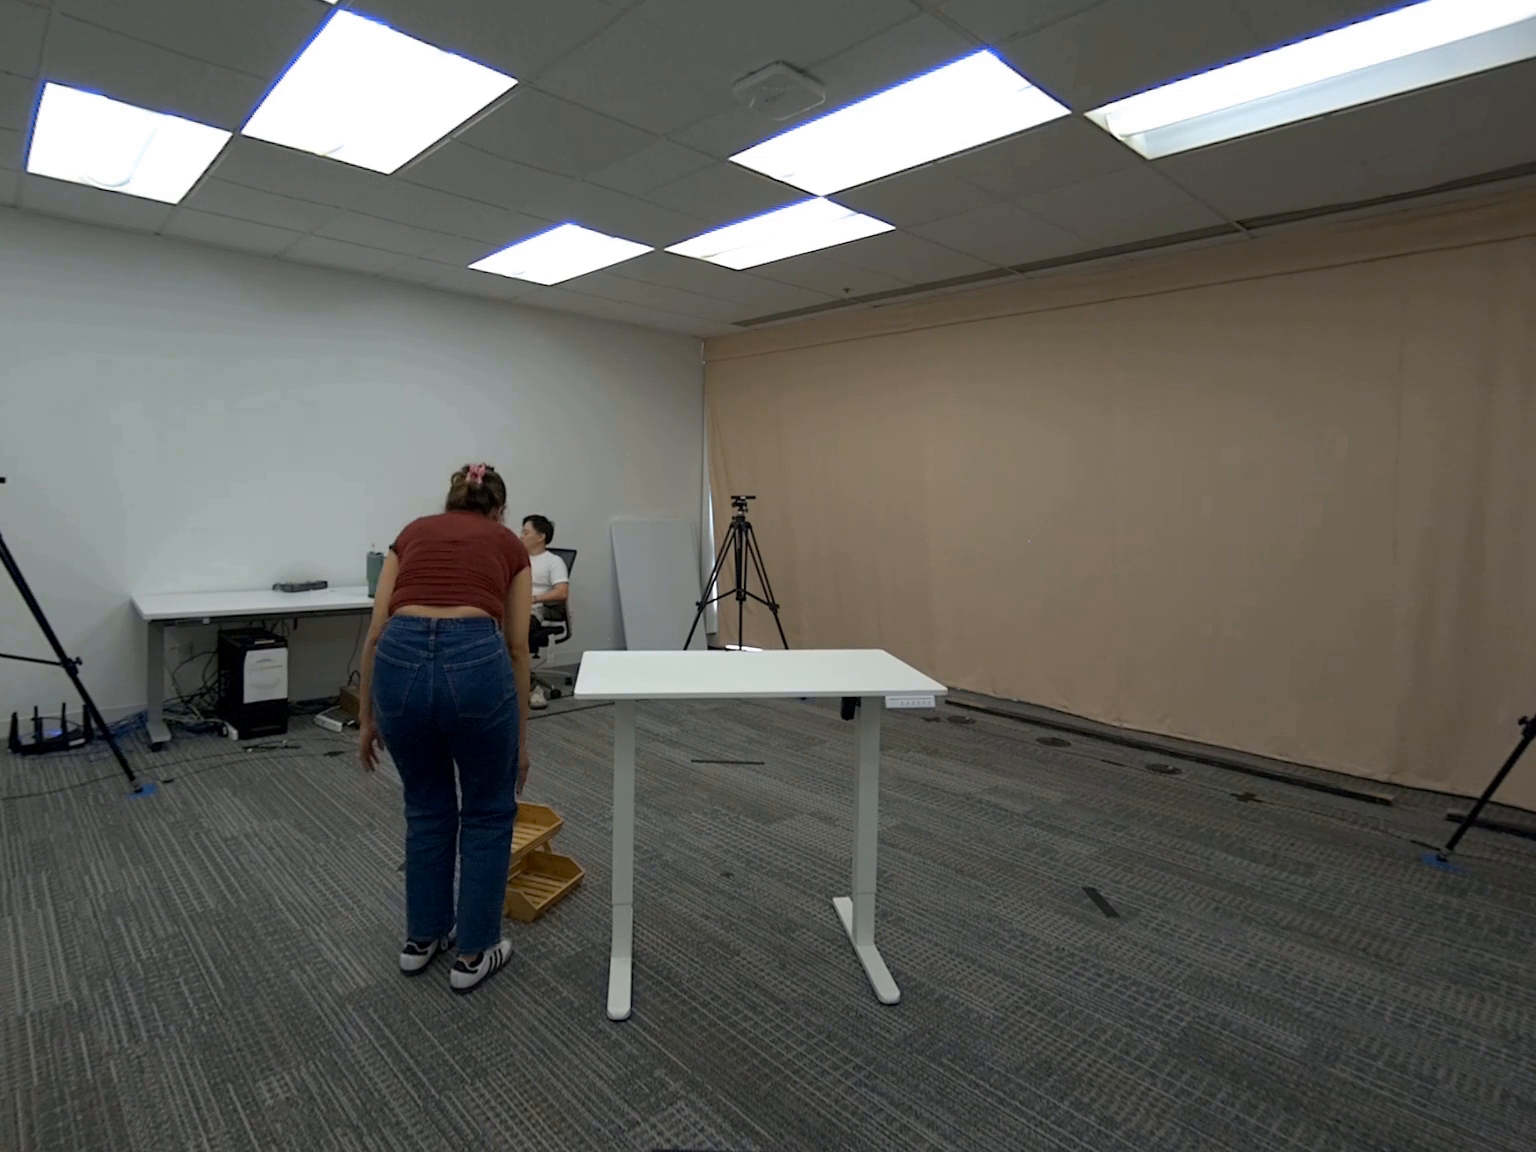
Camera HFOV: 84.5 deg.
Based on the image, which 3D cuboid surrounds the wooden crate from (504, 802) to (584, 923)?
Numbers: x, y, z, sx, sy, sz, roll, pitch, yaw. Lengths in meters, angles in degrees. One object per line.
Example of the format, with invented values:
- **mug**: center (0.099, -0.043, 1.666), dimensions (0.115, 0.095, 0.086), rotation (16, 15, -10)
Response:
- **wooden crate**: center (-0.844, 0.974, 2.904), dimensions (0.307, 0.272, 0.320), rotation (3, 6, 21)
